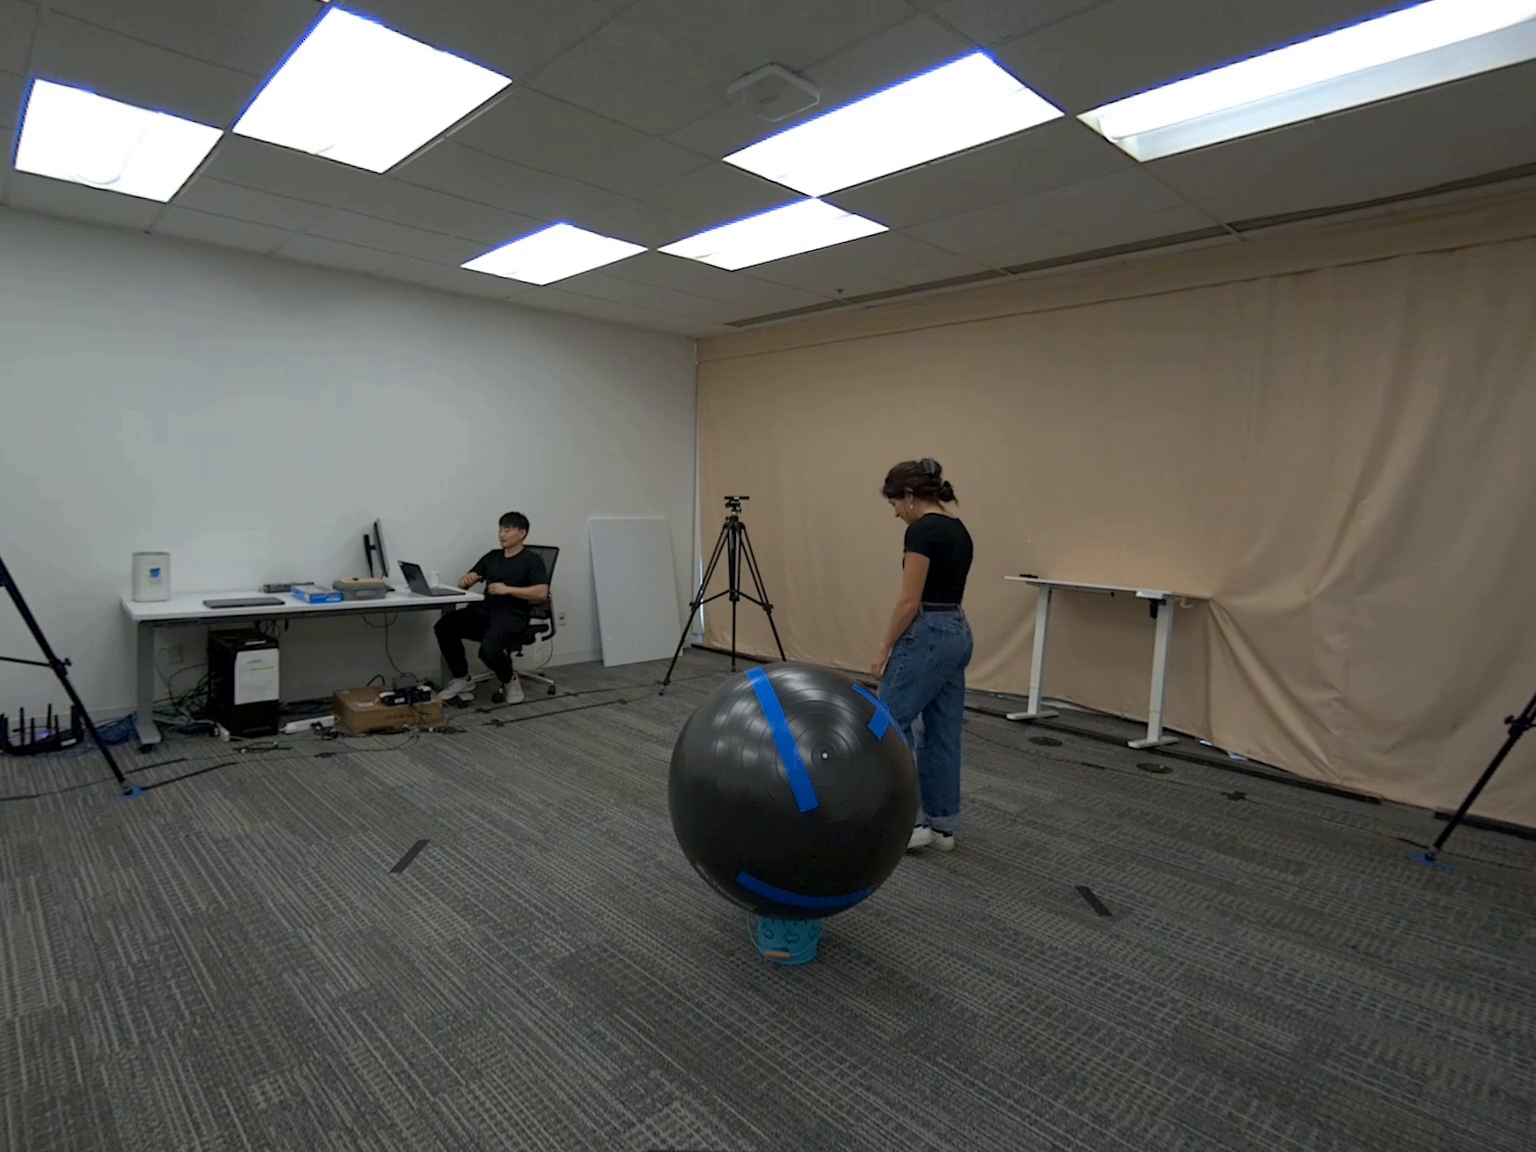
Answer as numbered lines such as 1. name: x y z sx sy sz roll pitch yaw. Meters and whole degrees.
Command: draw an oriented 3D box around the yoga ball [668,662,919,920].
1. yoga ball: 0.069 0.653 2.578 0.757 0.756 0.761 1 4 -1
